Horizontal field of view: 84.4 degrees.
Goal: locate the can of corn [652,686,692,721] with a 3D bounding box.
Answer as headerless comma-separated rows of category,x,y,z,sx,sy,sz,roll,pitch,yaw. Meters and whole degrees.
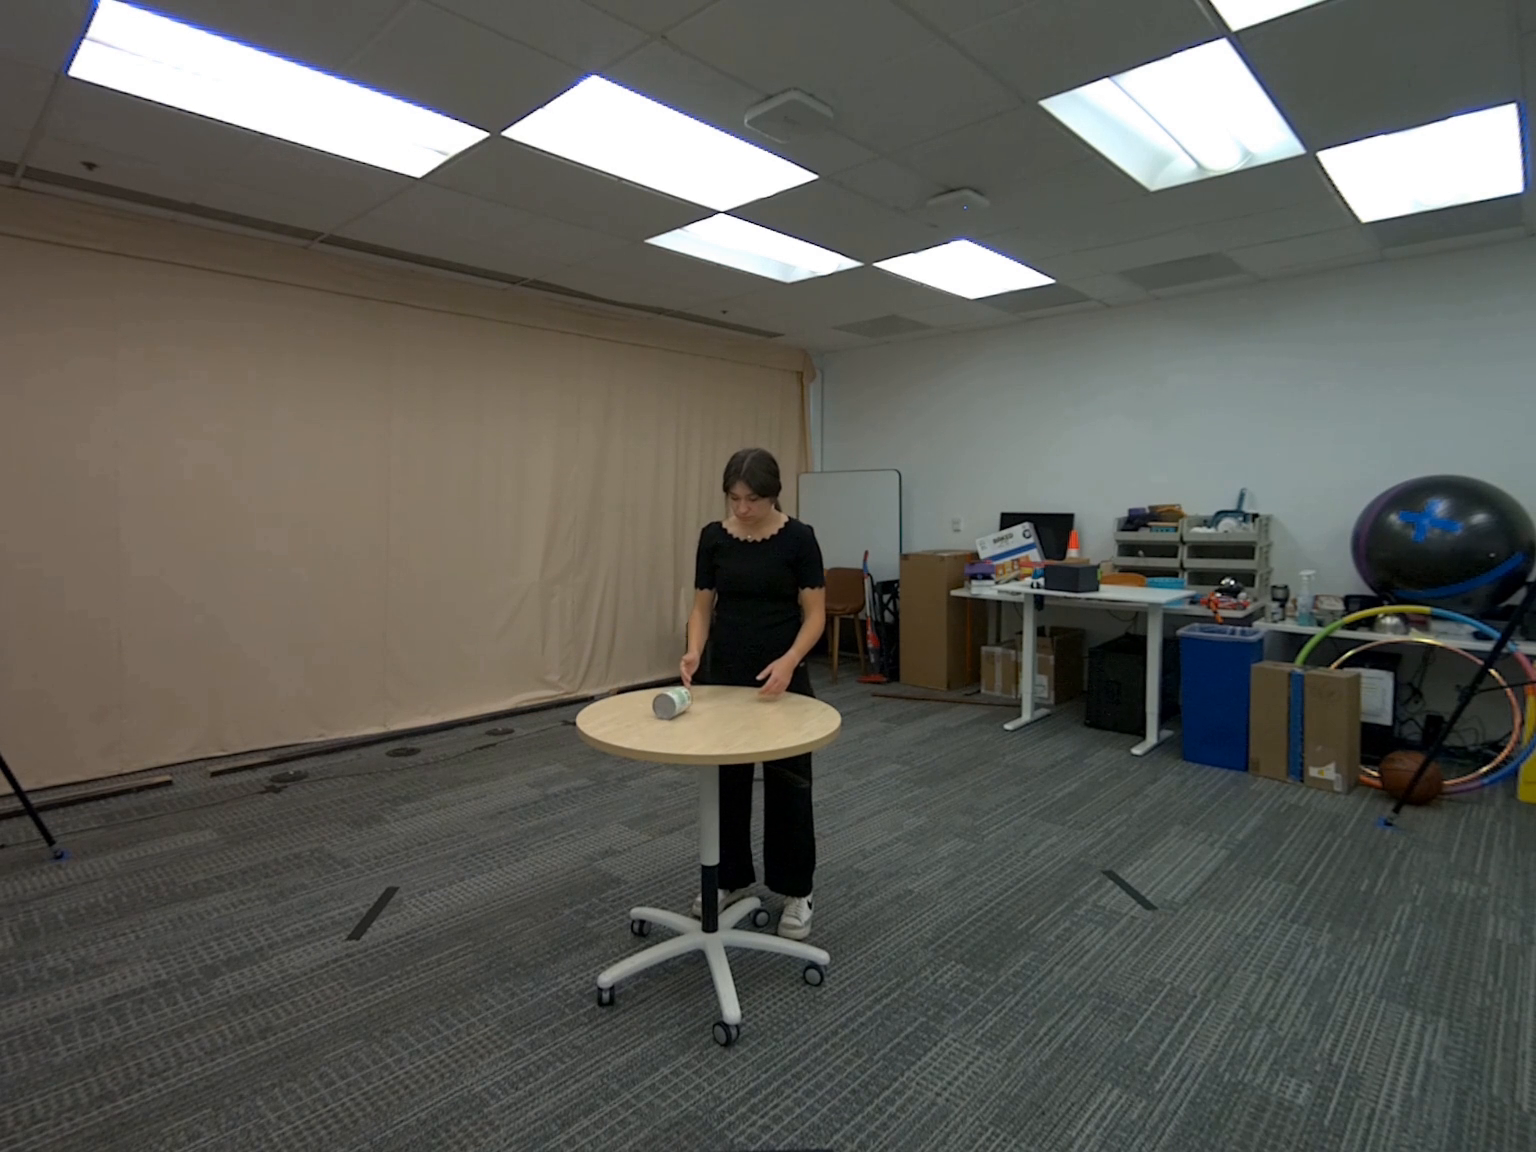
can of corn,-0.274,0.366,2.441,0.076,0.074,0.109,1,3,20
